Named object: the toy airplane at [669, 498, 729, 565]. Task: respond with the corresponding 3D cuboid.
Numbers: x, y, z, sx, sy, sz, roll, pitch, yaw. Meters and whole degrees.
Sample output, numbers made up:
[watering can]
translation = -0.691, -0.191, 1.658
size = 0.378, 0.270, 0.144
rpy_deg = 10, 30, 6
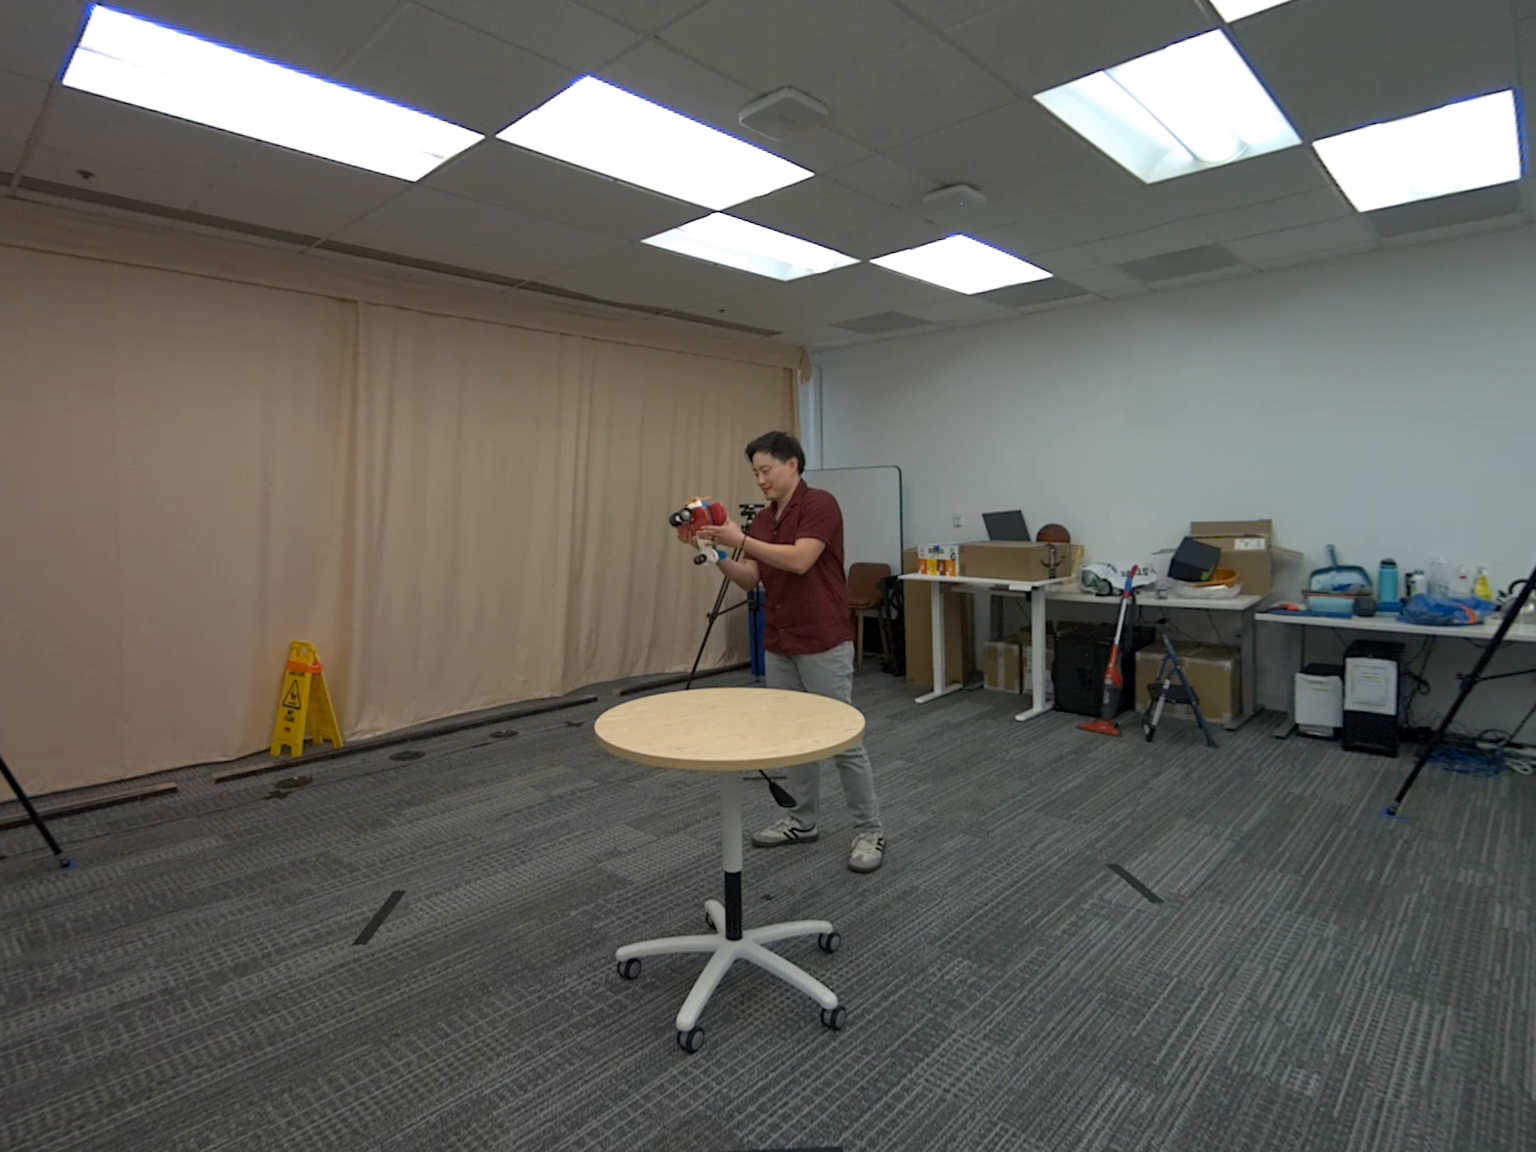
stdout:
[toy airplane]
translation = -0.258, -0.147, 3.244
size = 0.154, 0.254, 0.260
rpy_deg = -30, 32, -31
